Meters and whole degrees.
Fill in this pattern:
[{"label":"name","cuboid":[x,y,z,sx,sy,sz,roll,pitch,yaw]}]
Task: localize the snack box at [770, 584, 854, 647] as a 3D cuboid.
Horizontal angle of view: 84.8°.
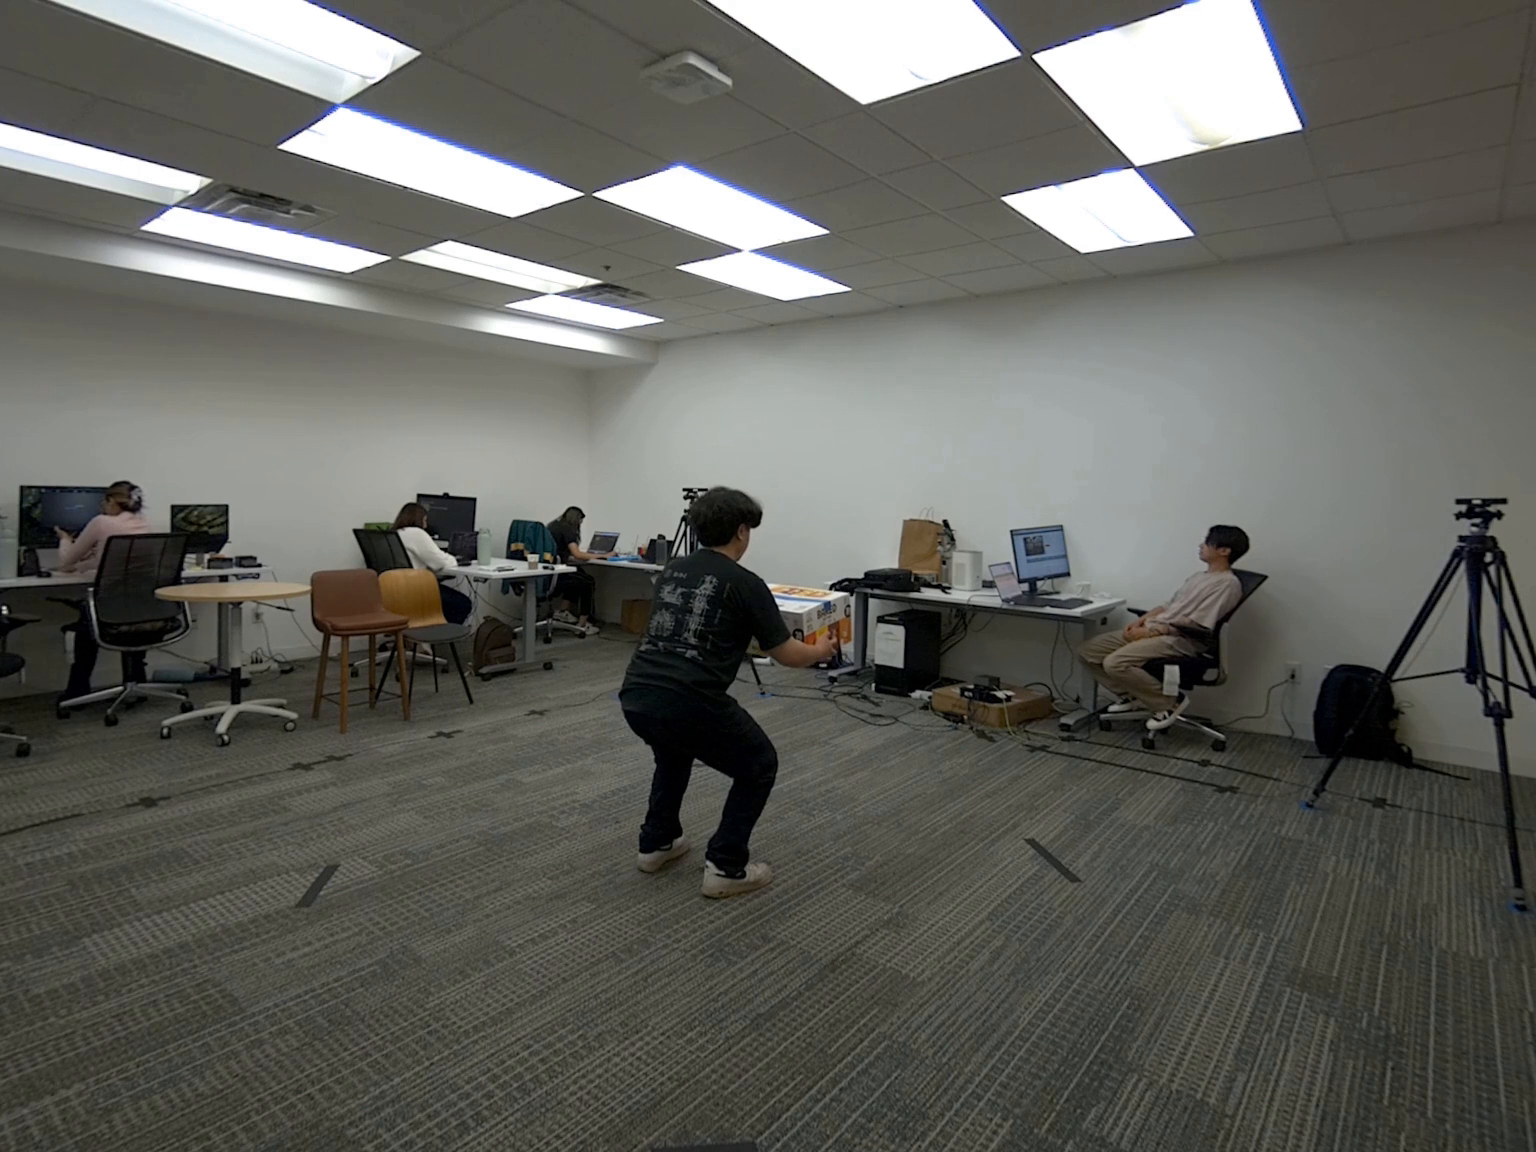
[{"label":"snack box","cuboid":[0.060,0.178,3.435,0.419,0.203,0.332,6,14,38]}]
